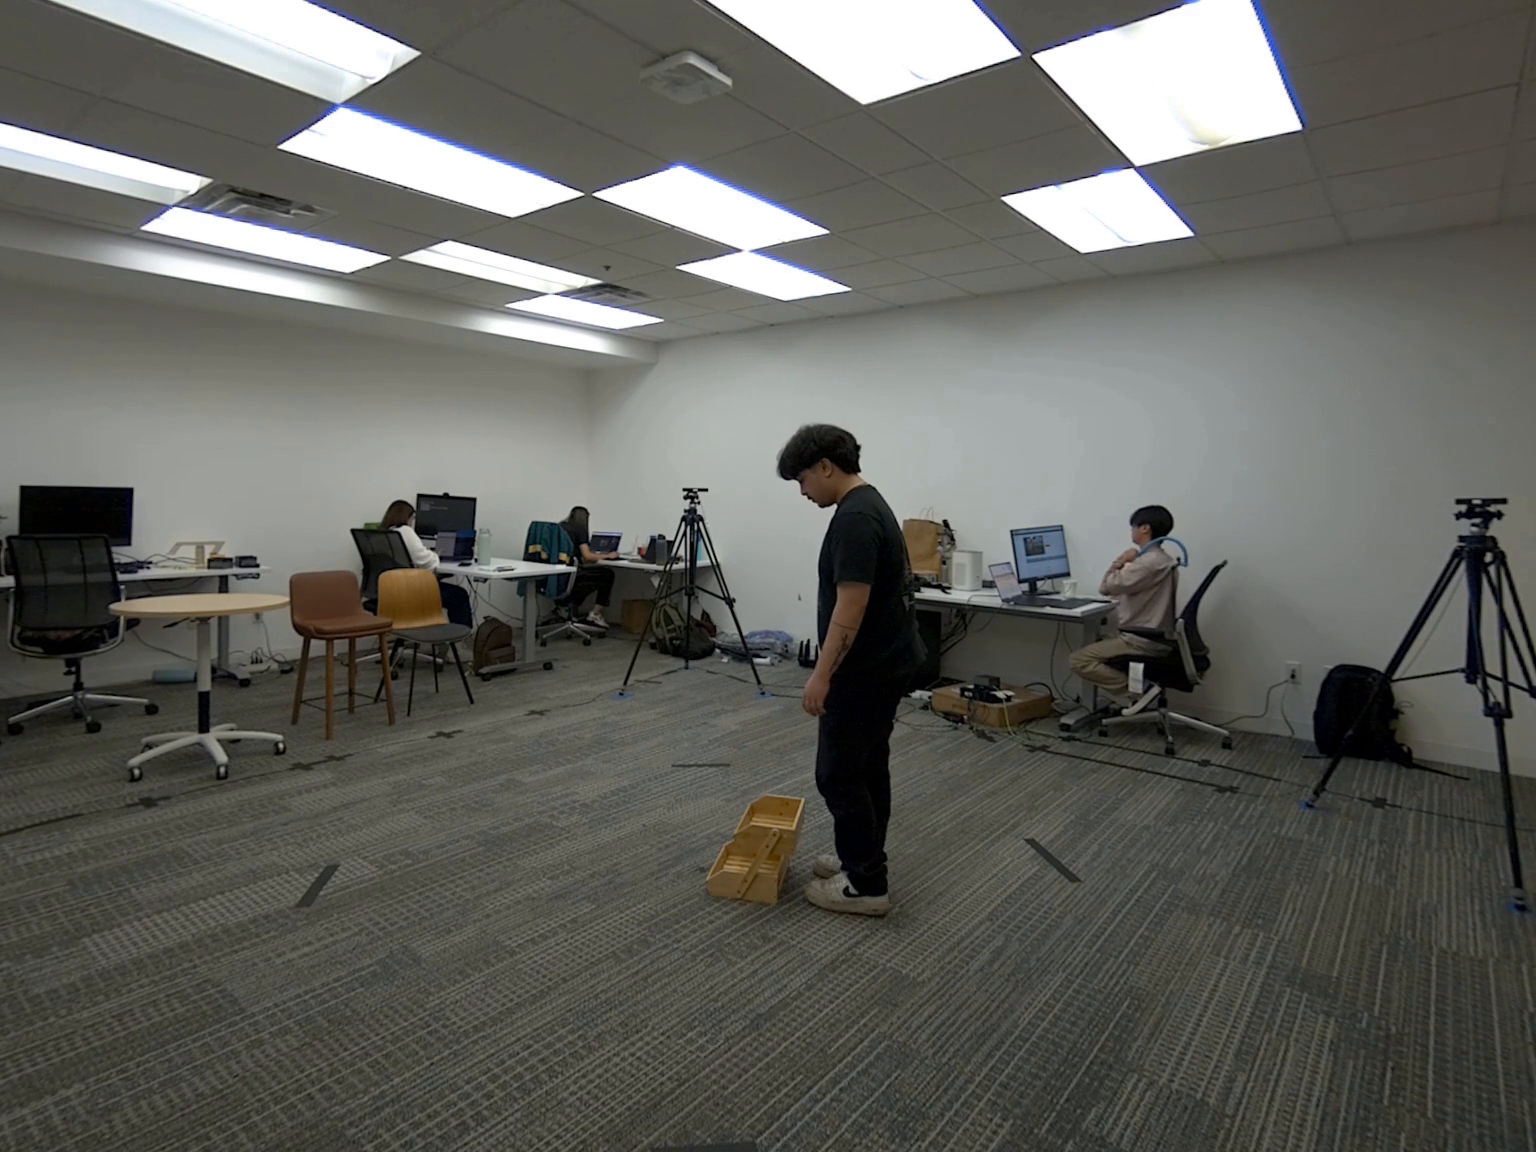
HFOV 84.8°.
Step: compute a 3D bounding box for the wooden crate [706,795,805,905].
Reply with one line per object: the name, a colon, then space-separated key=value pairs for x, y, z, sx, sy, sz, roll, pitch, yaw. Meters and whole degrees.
wooden crate: x=-0.049 y=0.946 z=3.018 sx=0.306 sy=0.272 sz=0.322 roll=3 pitch=5 yaw=10
